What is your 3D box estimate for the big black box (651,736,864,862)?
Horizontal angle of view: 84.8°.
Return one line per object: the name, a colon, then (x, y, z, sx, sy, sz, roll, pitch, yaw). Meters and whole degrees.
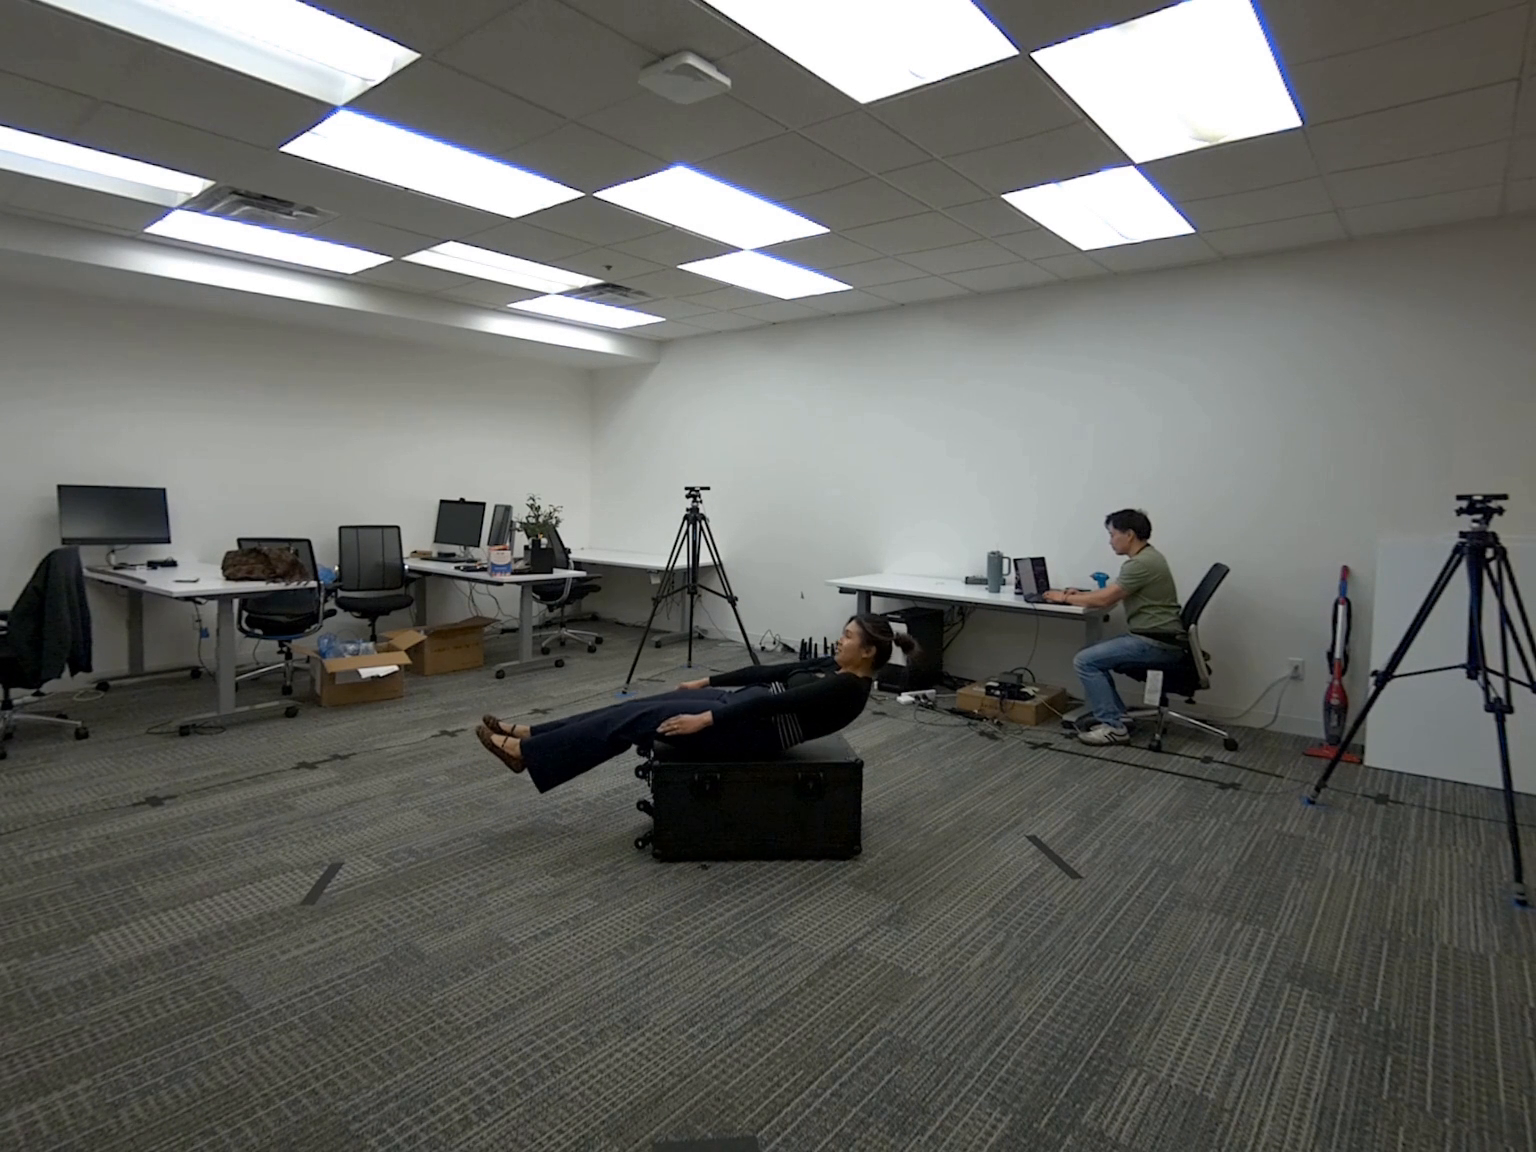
big black box: (-0.108, 0.843, 3.388, 0.857, 0.395, 0.526, 0, 5, -5)
